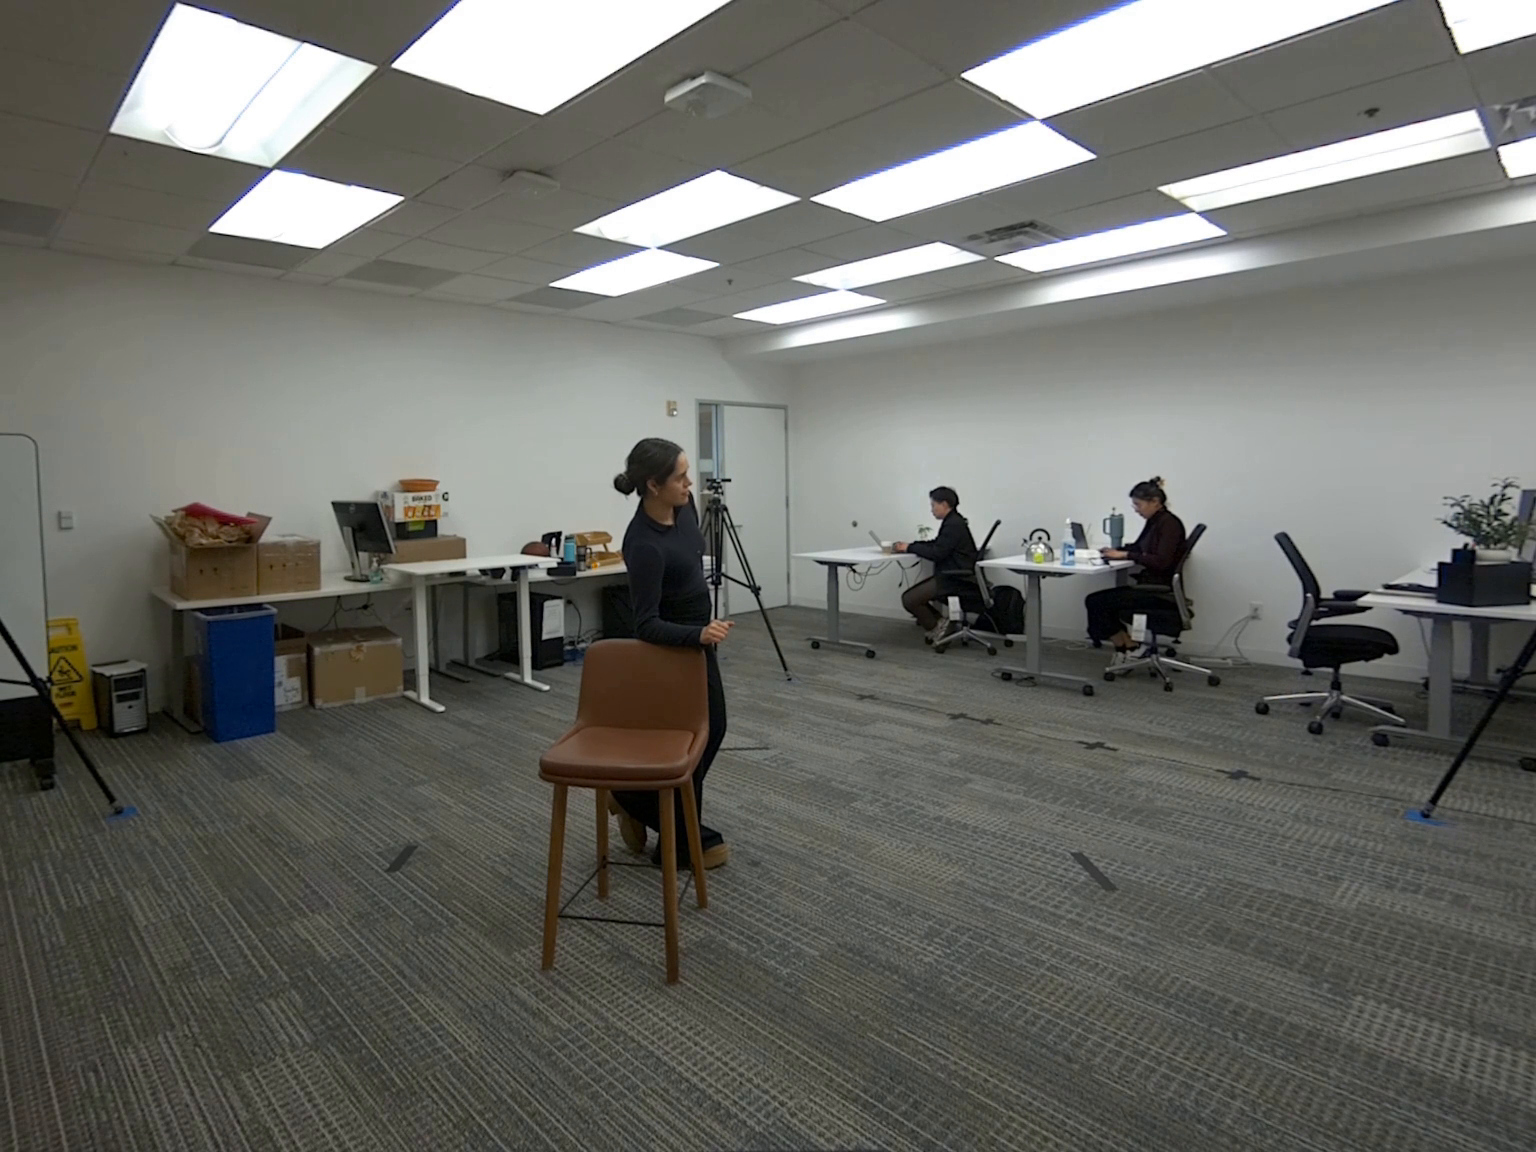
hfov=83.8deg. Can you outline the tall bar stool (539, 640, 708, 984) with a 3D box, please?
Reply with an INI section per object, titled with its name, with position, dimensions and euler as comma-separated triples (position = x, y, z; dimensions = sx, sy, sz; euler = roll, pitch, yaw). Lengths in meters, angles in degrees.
[tall bar stool]
position = -0.425, 0.678, 2.607
dimensions = 0.462, 0.888, 0.463
euler = 0, 3, 11
